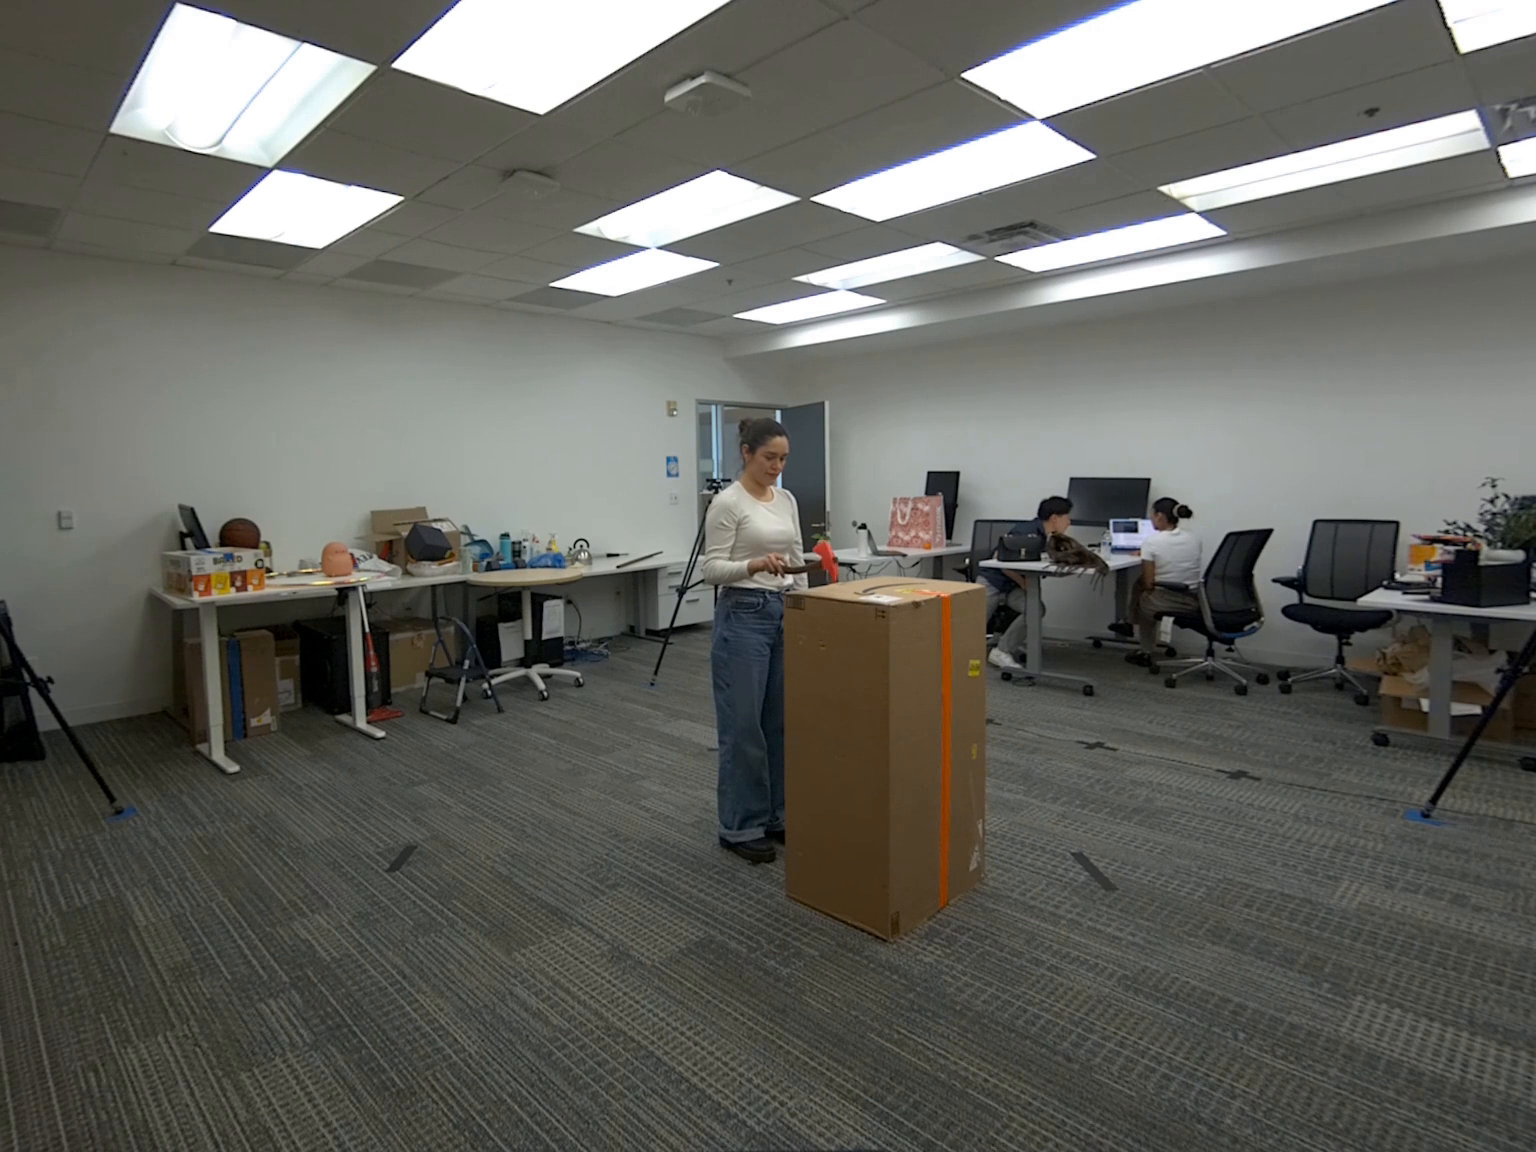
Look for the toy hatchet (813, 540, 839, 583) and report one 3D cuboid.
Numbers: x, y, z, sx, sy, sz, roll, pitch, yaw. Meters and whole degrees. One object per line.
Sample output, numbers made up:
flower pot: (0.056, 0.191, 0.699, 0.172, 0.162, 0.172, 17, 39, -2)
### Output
toy hatchet: (0.131, -0.053, 2.825, 0.029, 0.129, 0.279, -16, 16, -43)
